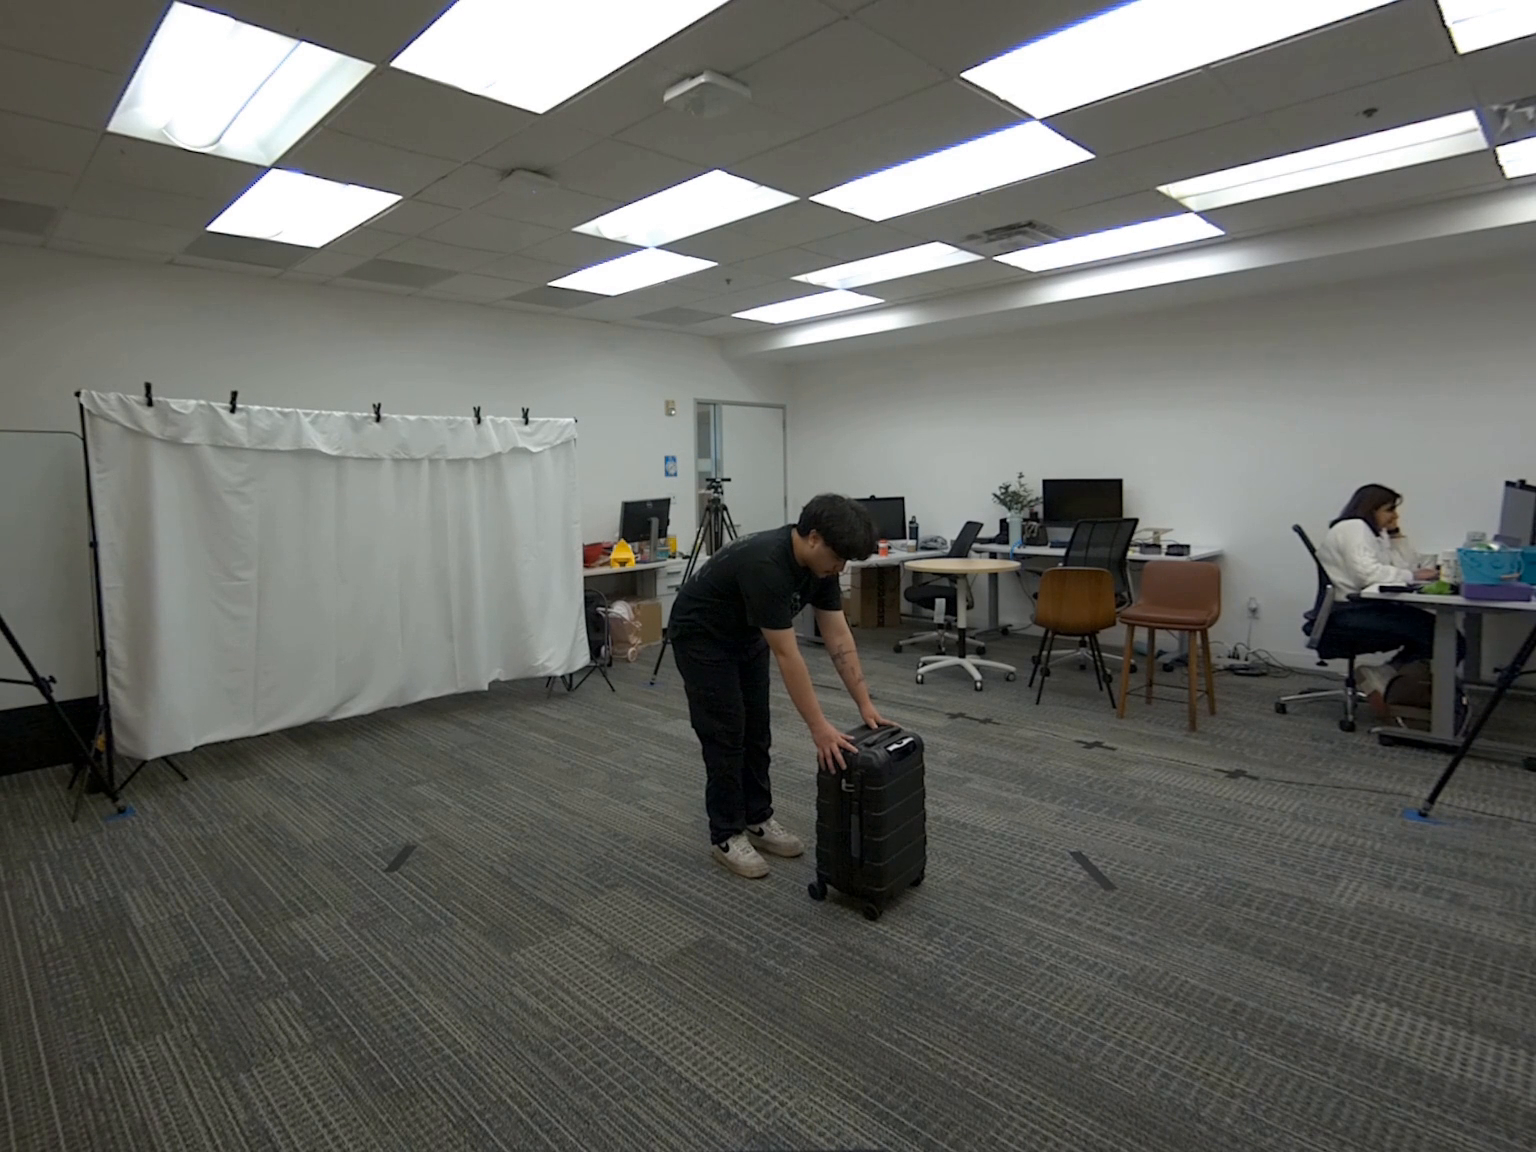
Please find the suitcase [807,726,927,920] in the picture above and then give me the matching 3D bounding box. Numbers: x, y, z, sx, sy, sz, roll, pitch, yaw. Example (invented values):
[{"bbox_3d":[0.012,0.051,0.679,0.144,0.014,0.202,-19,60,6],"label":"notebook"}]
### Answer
[{"bbox_3d":[0.352,0.793,2.844,0.256,0.547,0.366,3,6,37],"label":"suitcase"}]
